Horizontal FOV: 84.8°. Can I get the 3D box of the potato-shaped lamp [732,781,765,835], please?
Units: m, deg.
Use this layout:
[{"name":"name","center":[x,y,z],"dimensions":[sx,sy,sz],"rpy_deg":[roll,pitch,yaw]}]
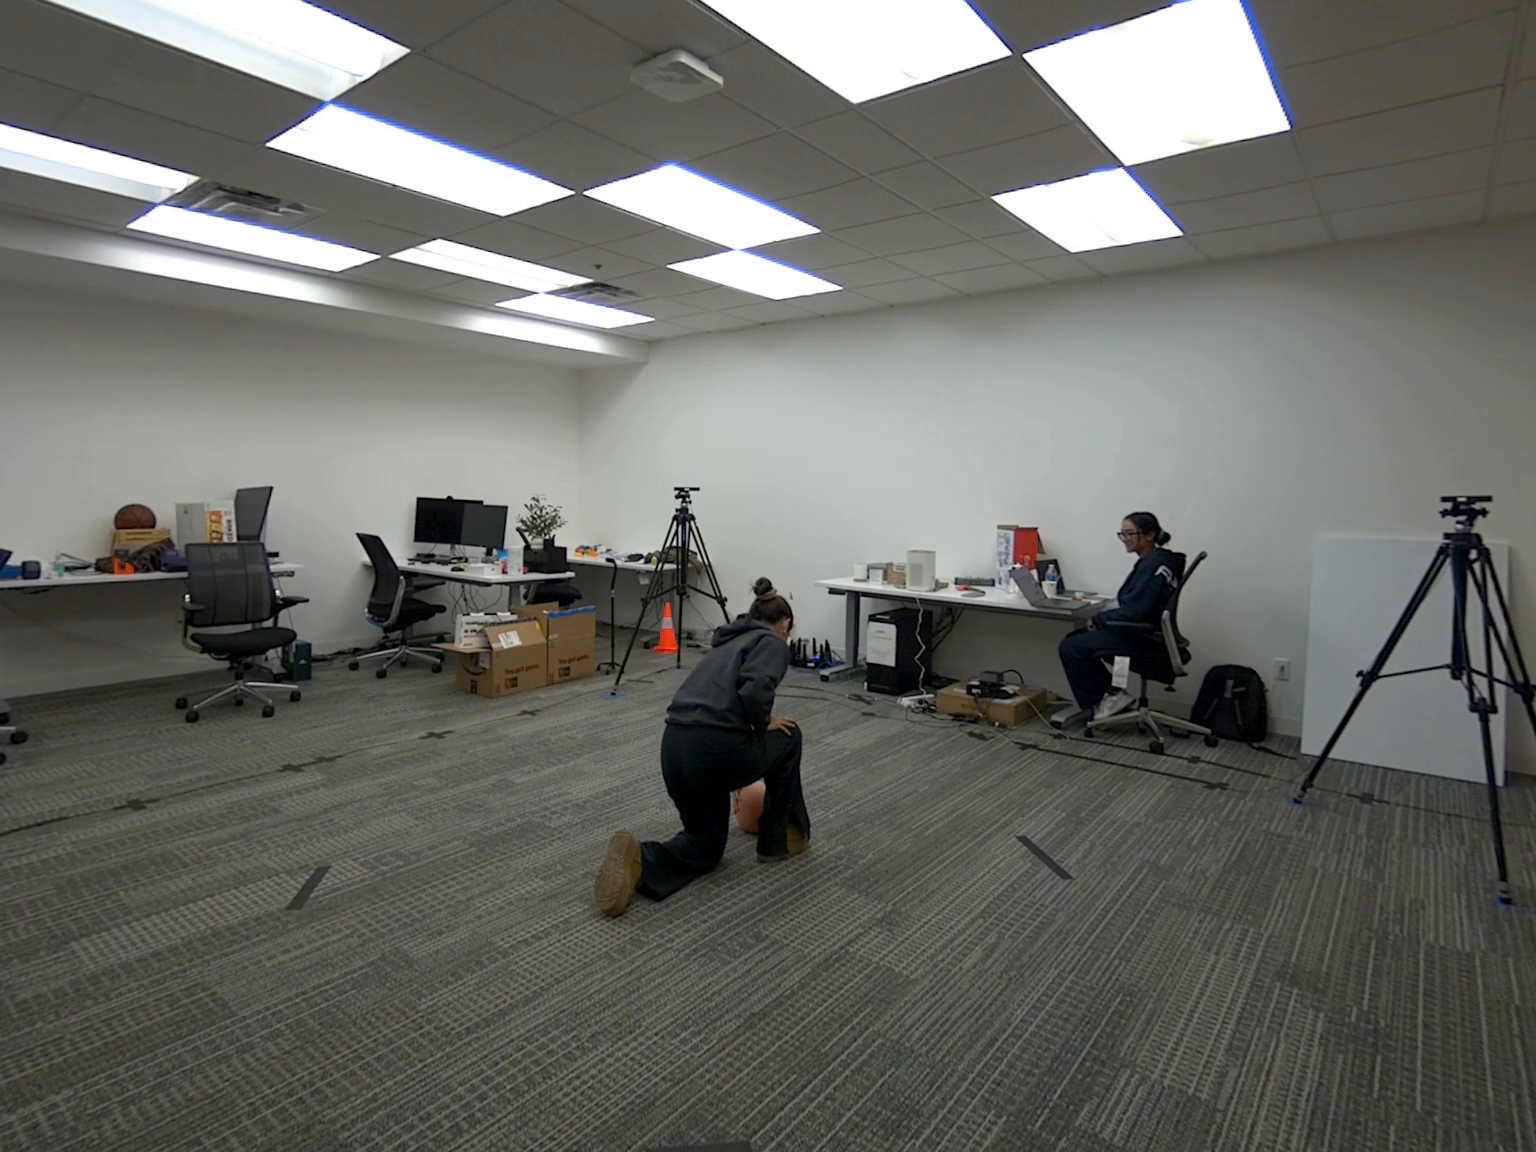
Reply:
[{"name":"potato-shaped lamp","center":[-0.052,0.933,3.479],"dimensions":[0.170,0.197,0.167],"rpy_deg":[5,6,33]}]
